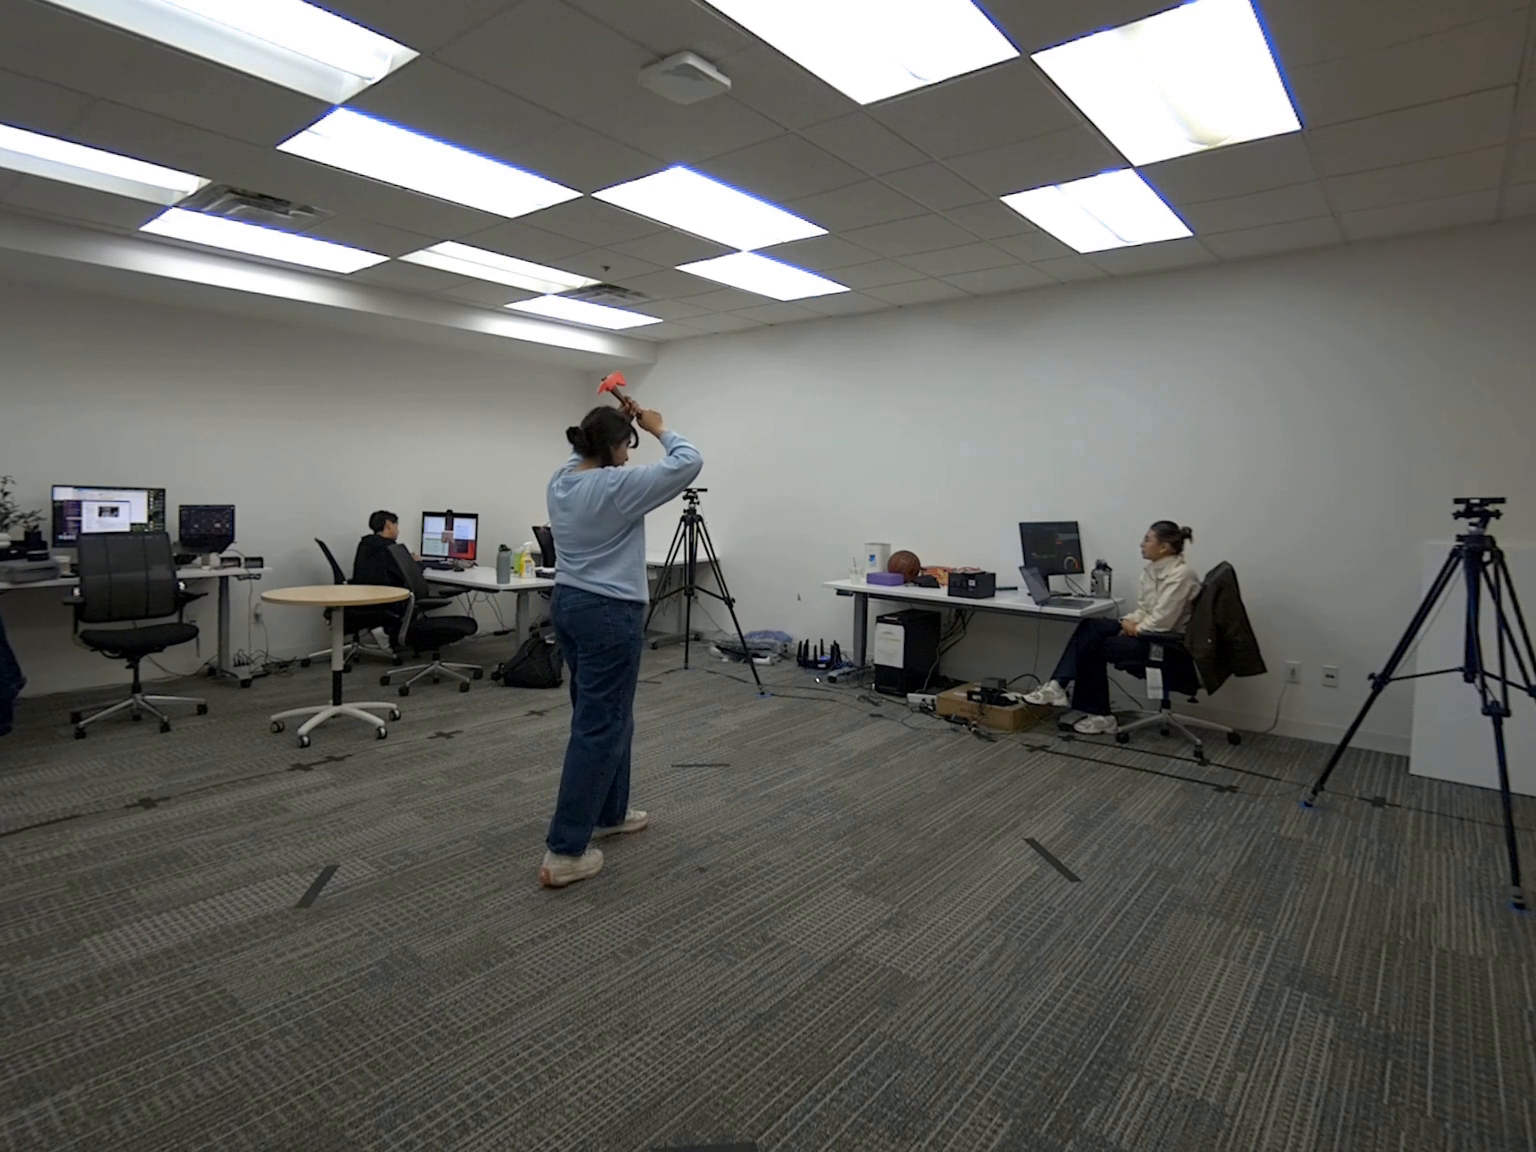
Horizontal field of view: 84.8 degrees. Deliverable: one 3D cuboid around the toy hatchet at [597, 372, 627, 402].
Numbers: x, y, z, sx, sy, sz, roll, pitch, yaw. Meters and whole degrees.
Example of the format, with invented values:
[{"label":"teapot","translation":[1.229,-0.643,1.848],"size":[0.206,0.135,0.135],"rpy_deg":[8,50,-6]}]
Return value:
[{"label":"toy hatchet","translation":[-0.532,-0.691,3.264],"size":[0.261,0.133,0.030],"rpy_deg":[29,-26,-26]}]
